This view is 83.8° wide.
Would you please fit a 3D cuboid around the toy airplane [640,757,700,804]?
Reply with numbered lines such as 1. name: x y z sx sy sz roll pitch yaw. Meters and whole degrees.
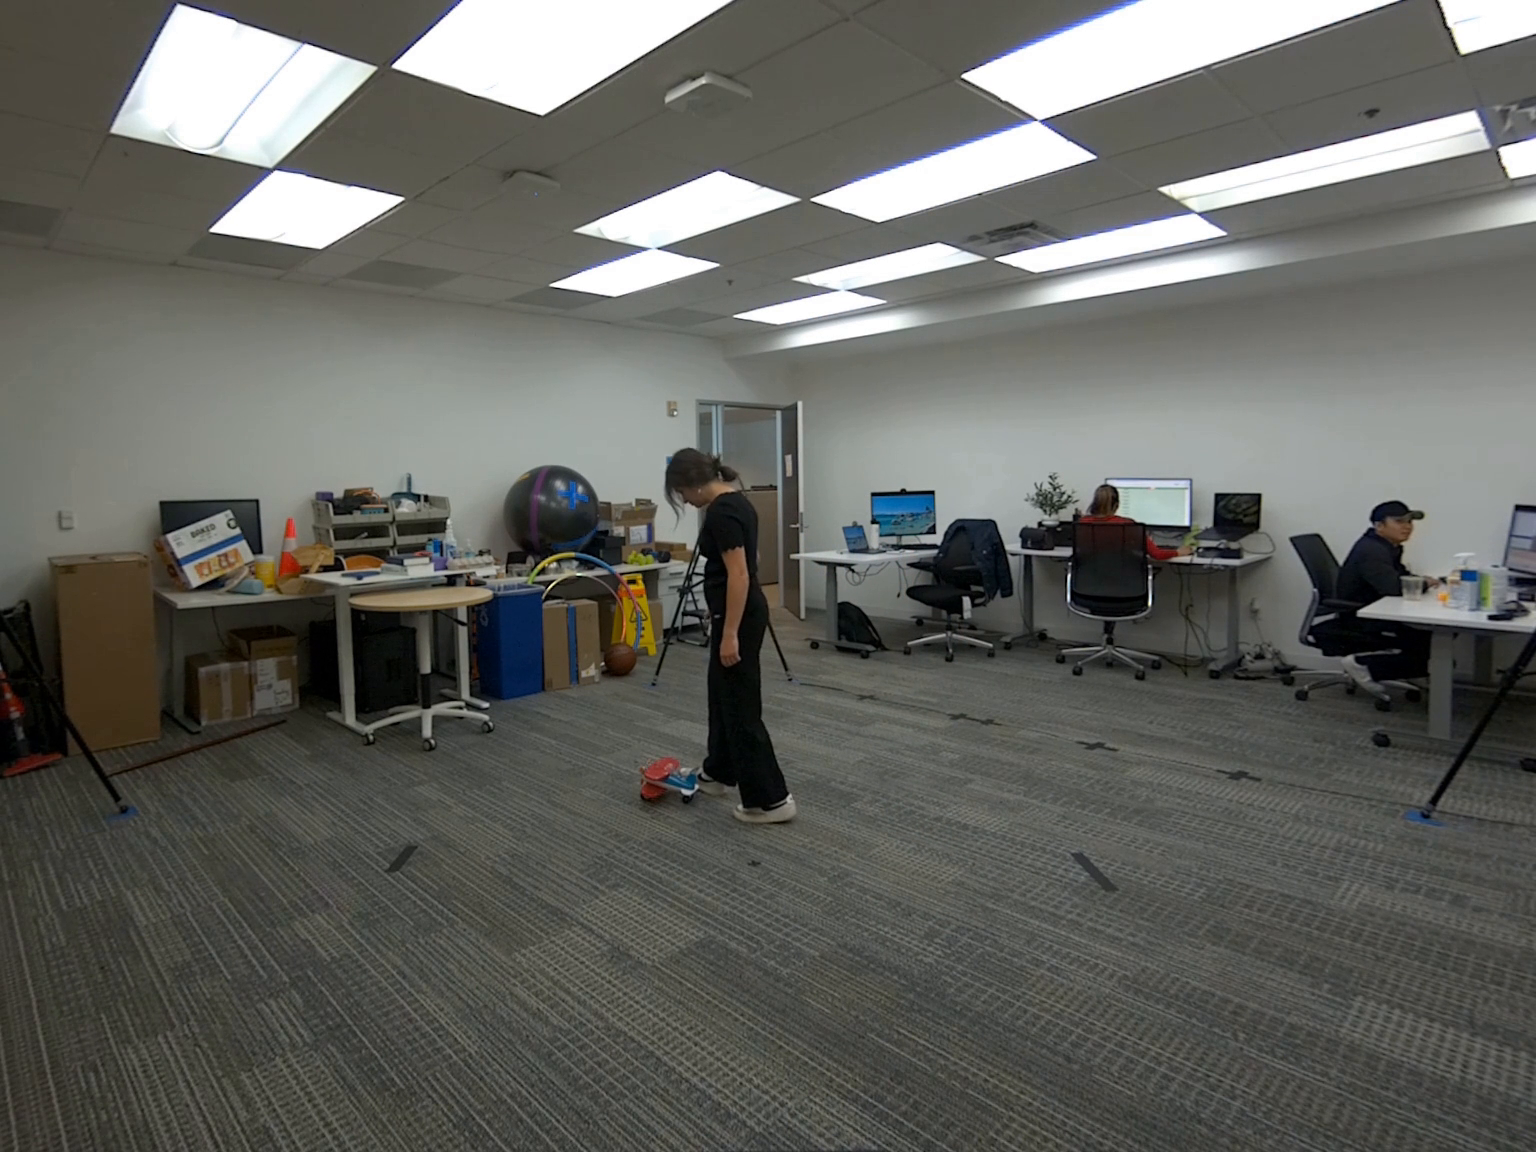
1. toy airplane: -0.434 0.904 3.763 0.257 0.156 0.254 -2 5 -9
